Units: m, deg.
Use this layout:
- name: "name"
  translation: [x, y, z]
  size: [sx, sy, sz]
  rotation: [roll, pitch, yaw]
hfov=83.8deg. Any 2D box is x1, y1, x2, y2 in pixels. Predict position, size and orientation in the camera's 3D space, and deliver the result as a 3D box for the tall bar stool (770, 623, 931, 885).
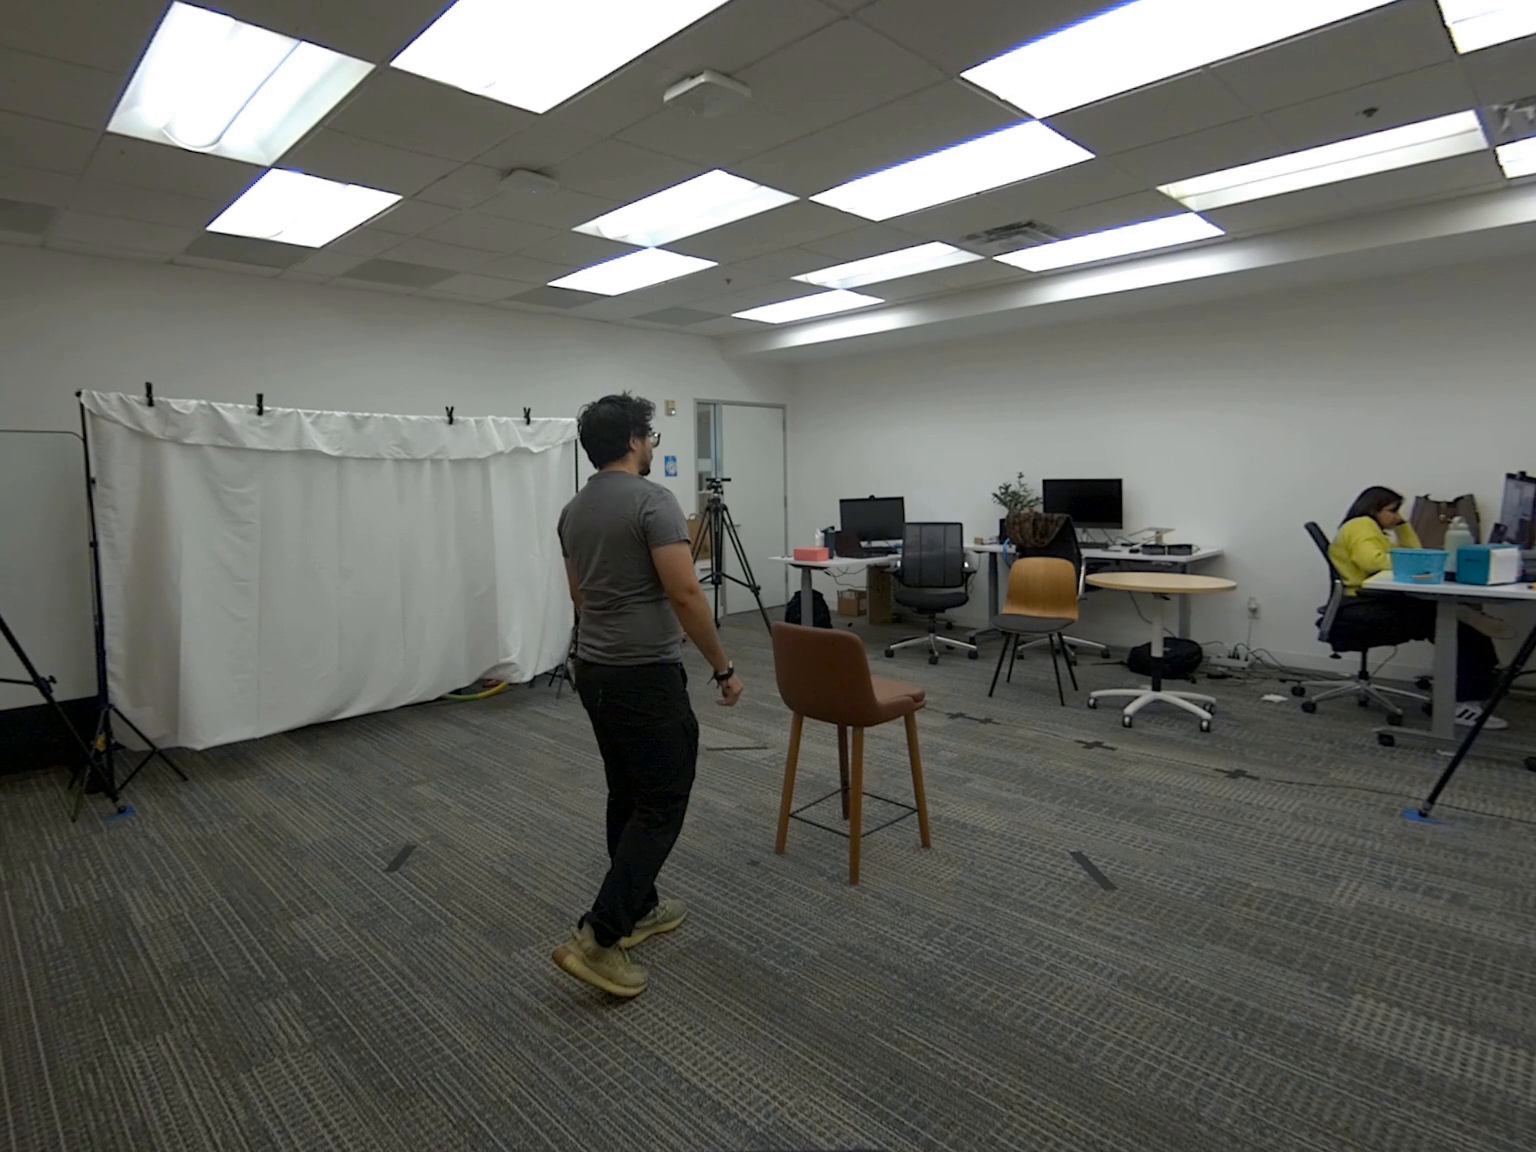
- name: "tall bar stool"
  translation: [0.305, 0.592, 3.180]
  size: [0.456, 0.885, 0.471]
  rotation: [-7, 8, -44]
